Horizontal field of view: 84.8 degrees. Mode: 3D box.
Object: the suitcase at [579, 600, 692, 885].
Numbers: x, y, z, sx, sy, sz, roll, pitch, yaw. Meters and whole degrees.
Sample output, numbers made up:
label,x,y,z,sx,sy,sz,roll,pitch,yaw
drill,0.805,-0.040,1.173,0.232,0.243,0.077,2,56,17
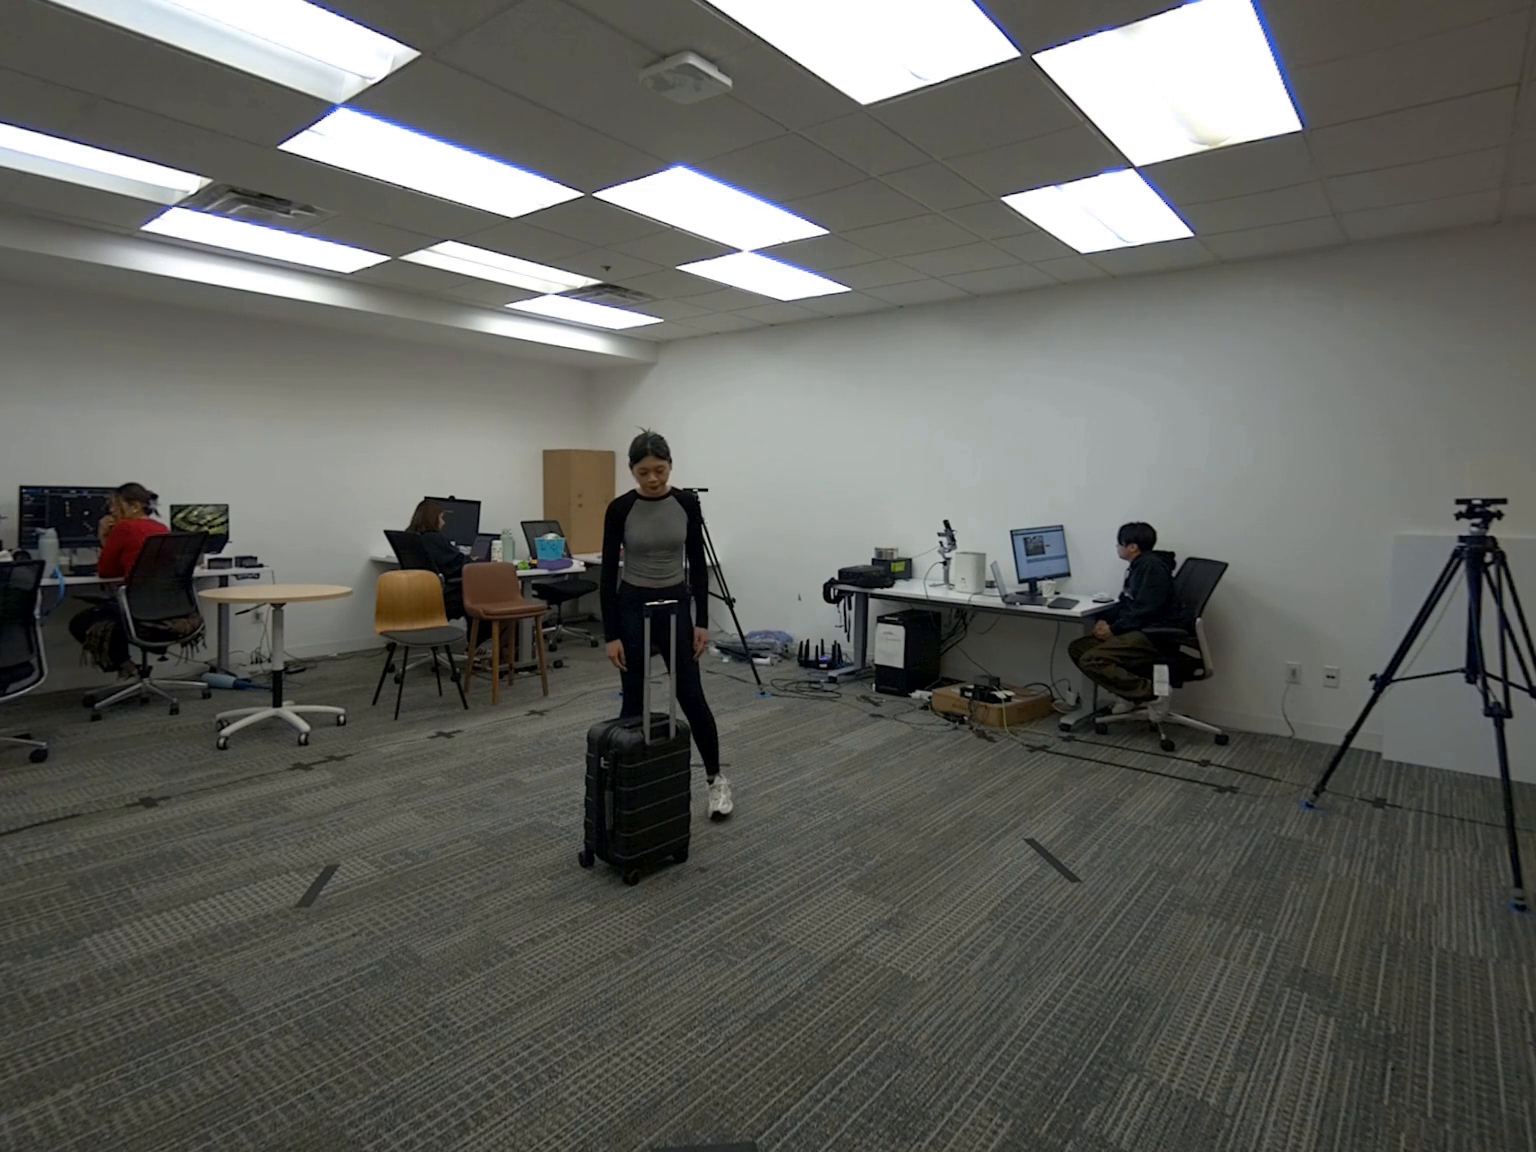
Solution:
label,x,y,z,sx,sy,sz,roll,pitch,yaw
suitcase,-0.498,0.585,3.125,0.265,0.977,0.373,1,3,37
